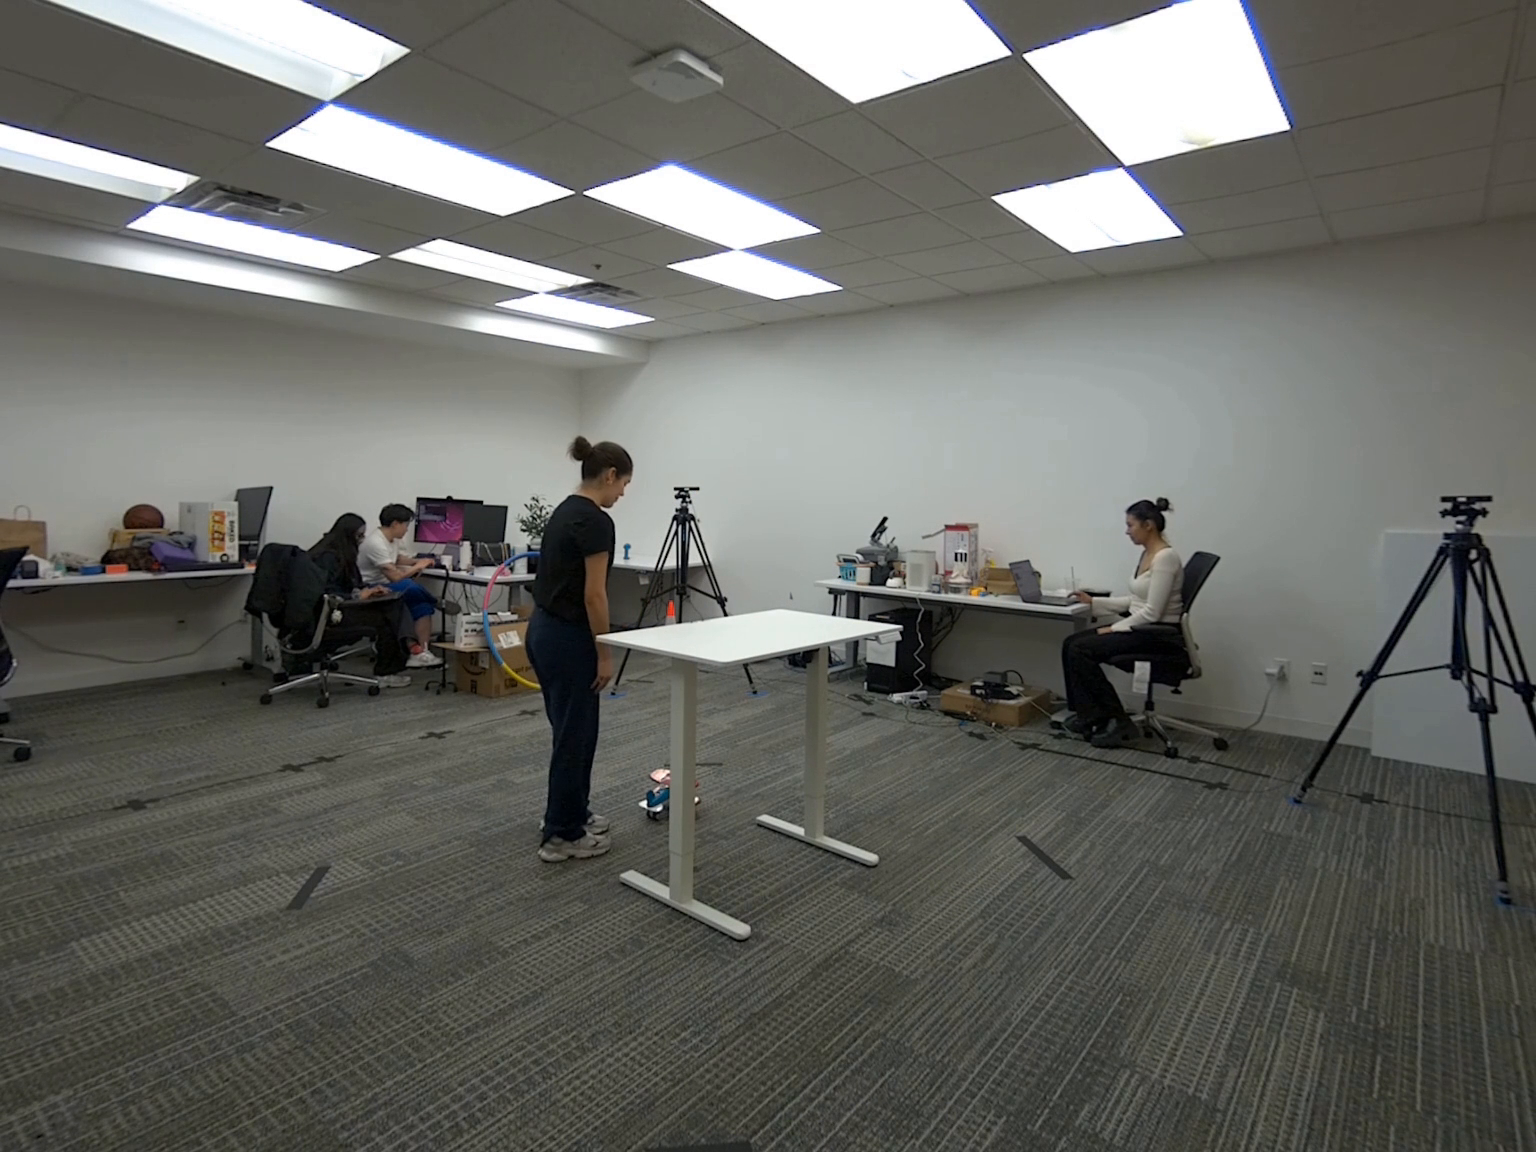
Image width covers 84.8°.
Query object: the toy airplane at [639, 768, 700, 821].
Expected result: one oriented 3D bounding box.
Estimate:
[{"bbox_3d":[-0.386,0.935,3.645,0.255,0.156,0.256,3,4,12],"label":"toy airplane"}]
